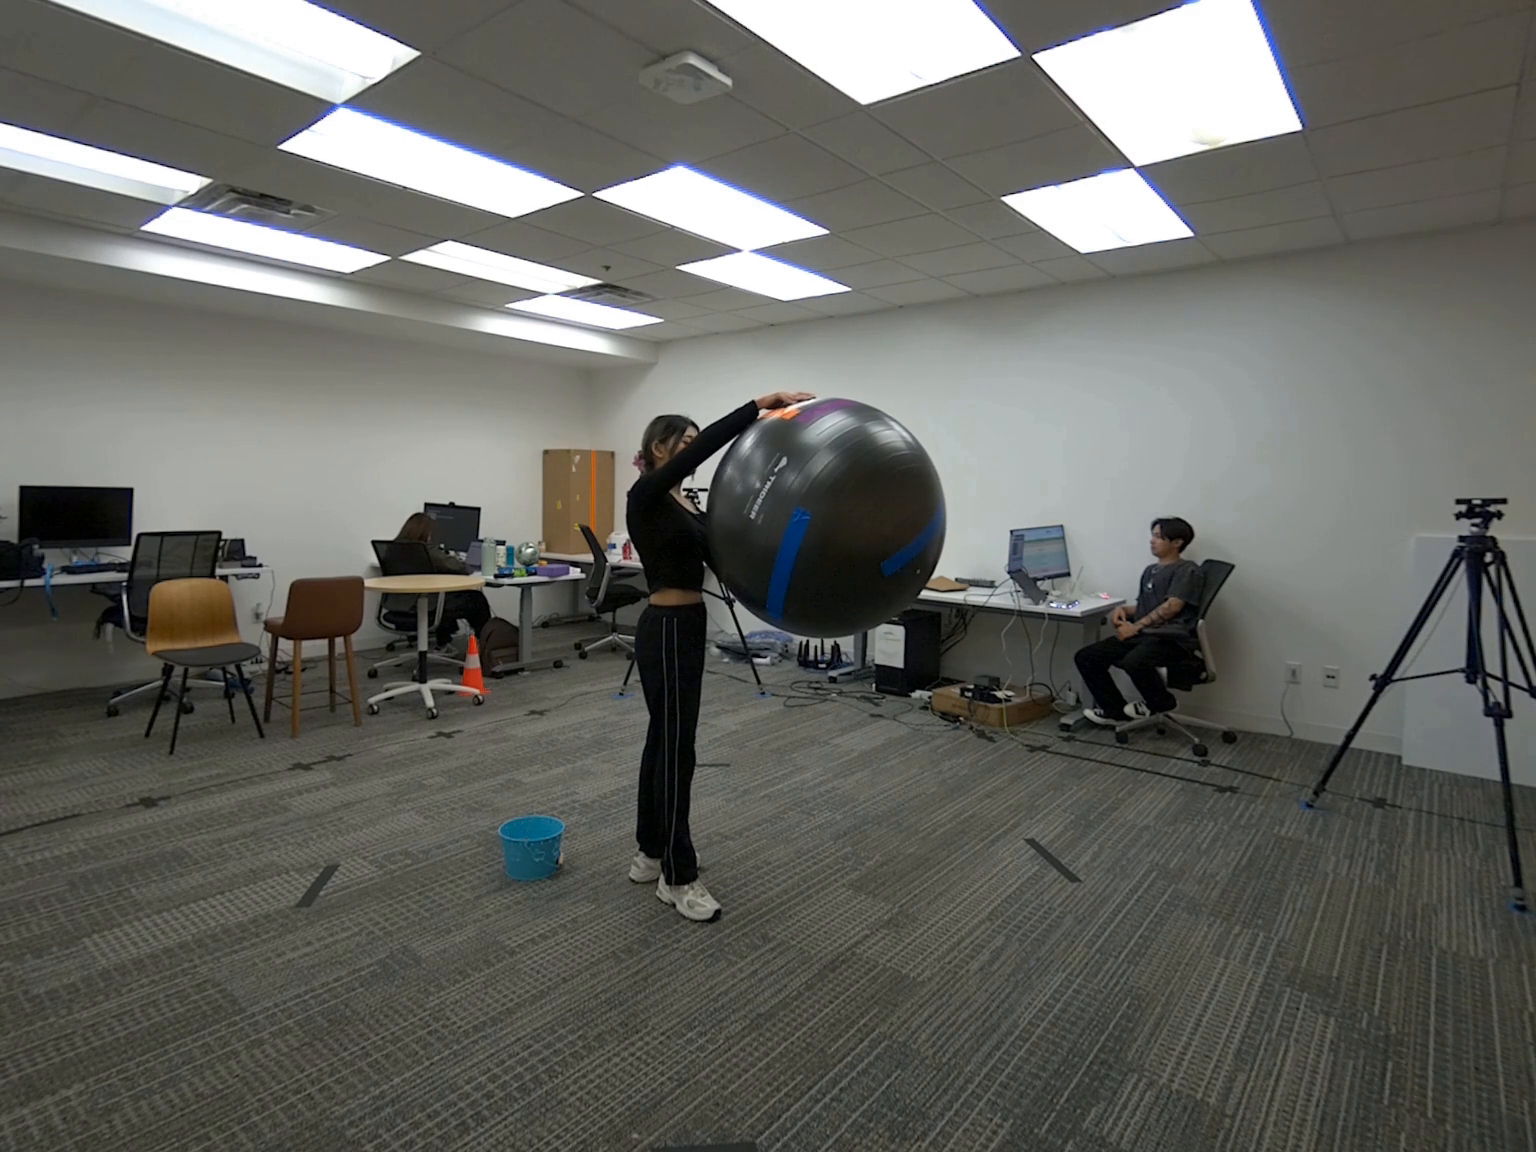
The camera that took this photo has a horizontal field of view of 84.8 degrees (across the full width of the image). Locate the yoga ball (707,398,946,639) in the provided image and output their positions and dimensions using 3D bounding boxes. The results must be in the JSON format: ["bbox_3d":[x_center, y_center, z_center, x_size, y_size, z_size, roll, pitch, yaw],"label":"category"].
[{"bbox_3d":[0.169,-0.180,2.701,0.757,0.755,0.762,1,4,-2],"label":"yoga ball"}]
